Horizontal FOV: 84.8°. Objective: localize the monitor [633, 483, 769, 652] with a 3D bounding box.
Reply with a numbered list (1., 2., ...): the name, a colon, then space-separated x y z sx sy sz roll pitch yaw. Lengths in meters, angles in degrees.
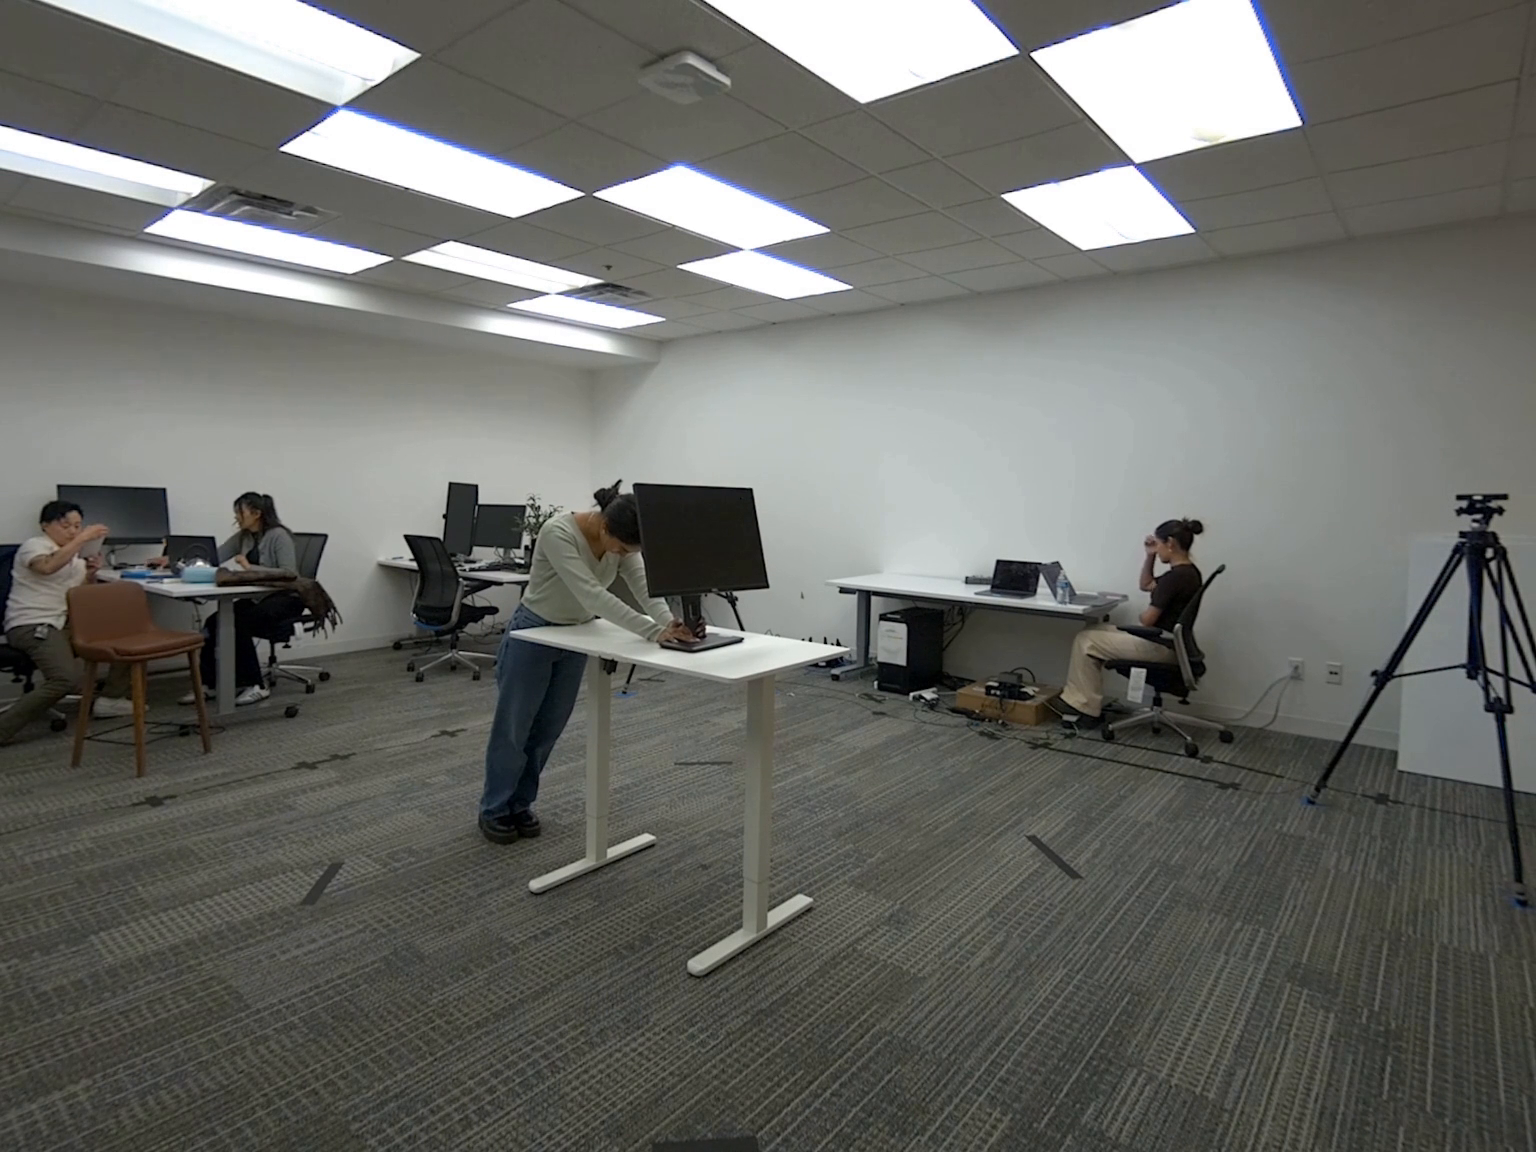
1. monitor: -0.233 -0.034 2.753 0.193 0.522 0.523 1 2 39
